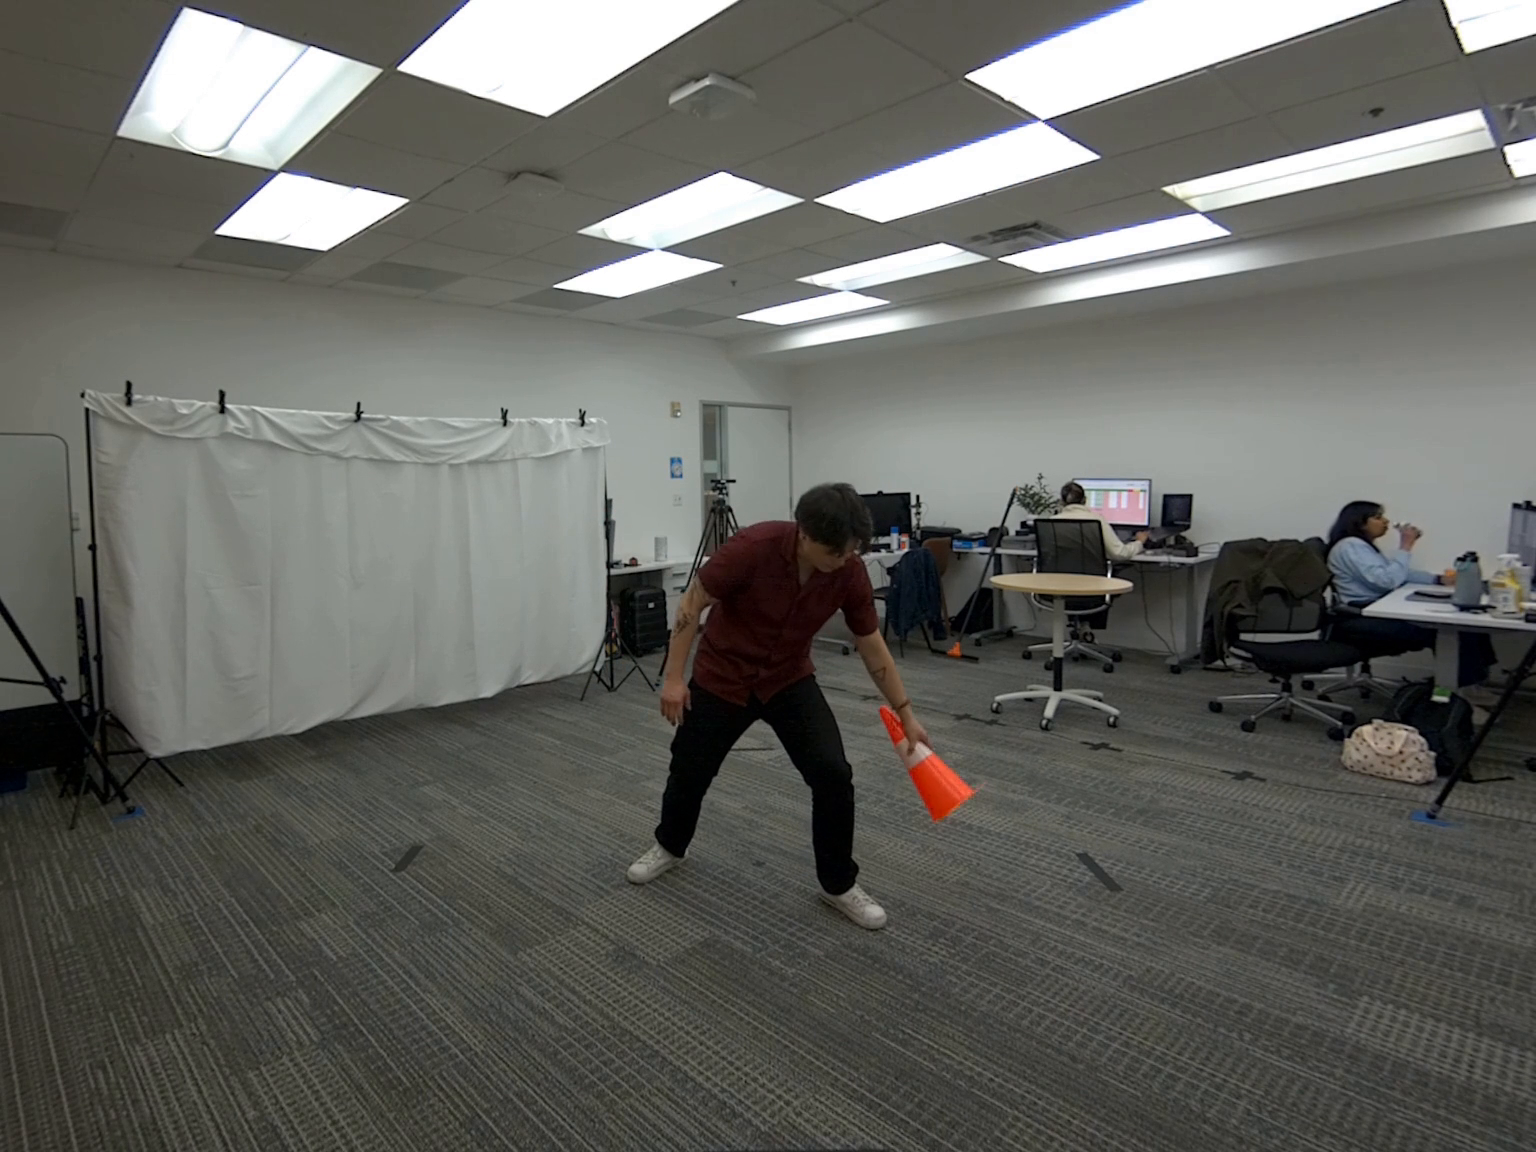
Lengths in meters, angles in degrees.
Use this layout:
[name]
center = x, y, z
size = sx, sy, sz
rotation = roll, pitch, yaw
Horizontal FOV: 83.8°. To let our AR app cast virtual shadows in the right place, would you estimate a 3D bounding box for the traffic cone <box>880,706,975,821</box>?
[traffic cone]
center = 0.470, 0.583, 2.780
size = 0.202, 0.394, 0.201
rotation = -24, -24, -32
